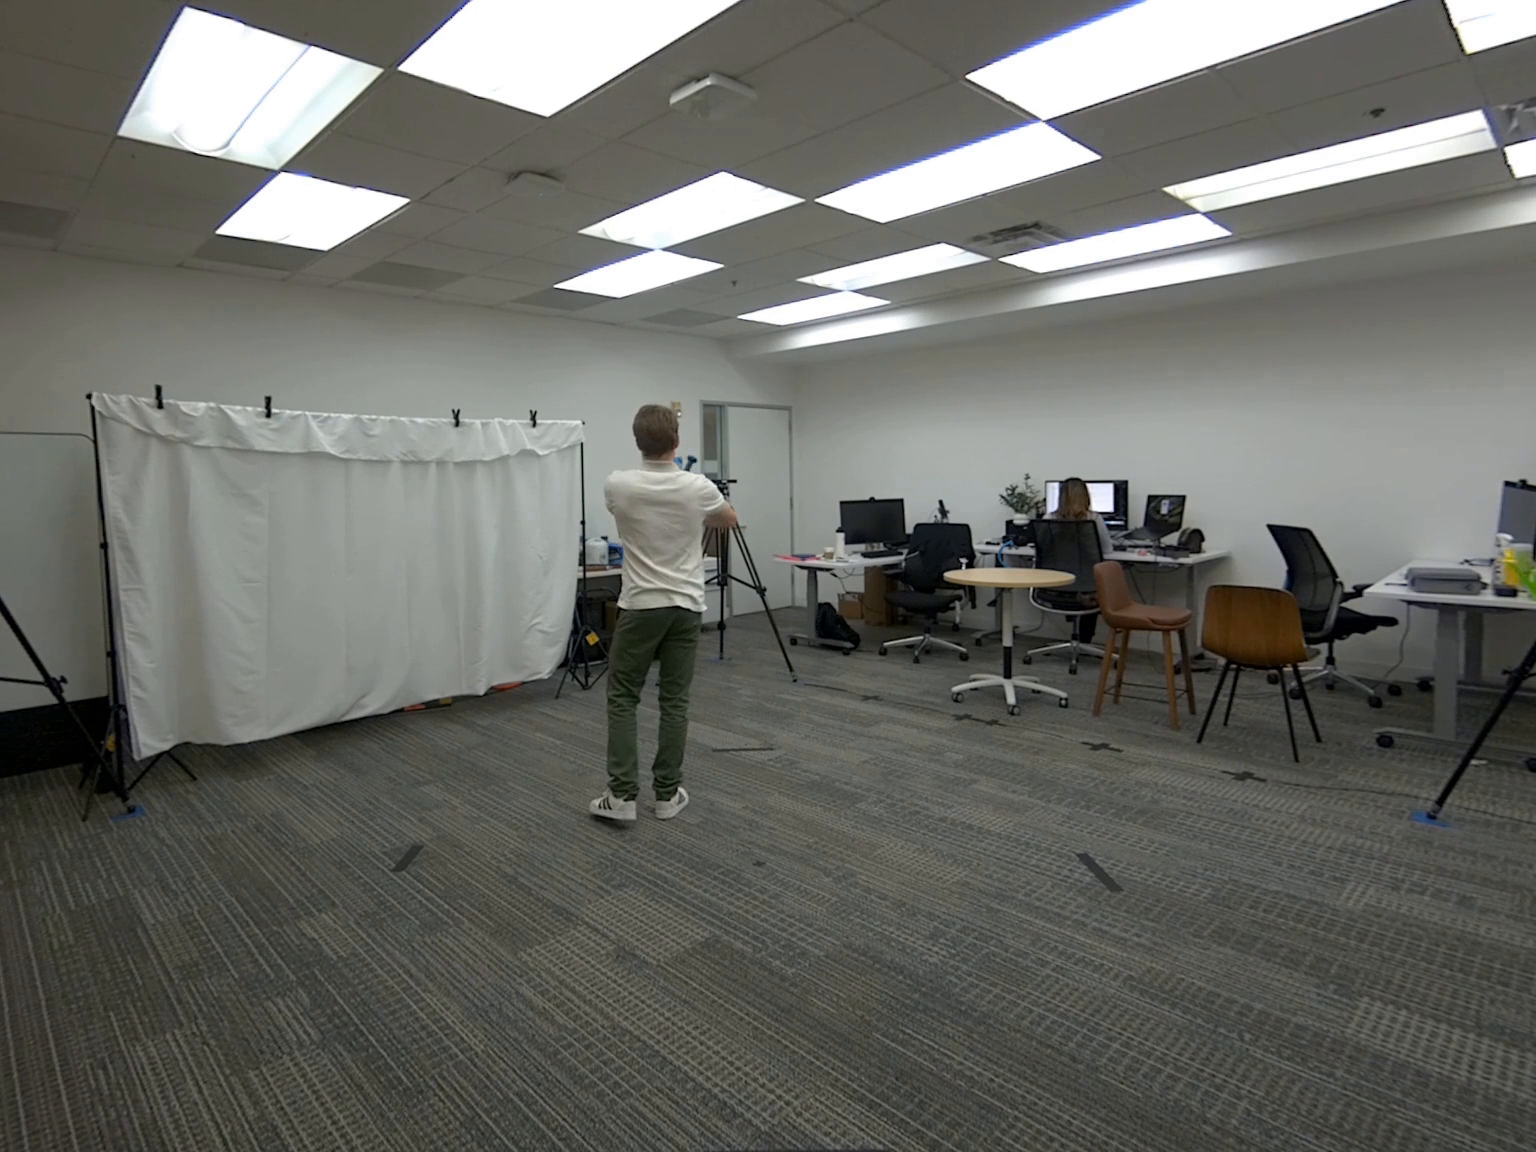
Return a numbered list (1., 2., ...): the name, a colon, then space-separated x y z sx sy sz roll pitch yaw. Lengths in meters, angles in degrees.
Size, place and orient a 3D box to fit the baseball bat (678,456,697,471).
1. baseball bat: -0.452 -0.313 3.958 0.089 0.545 0.088 24 -9 2
